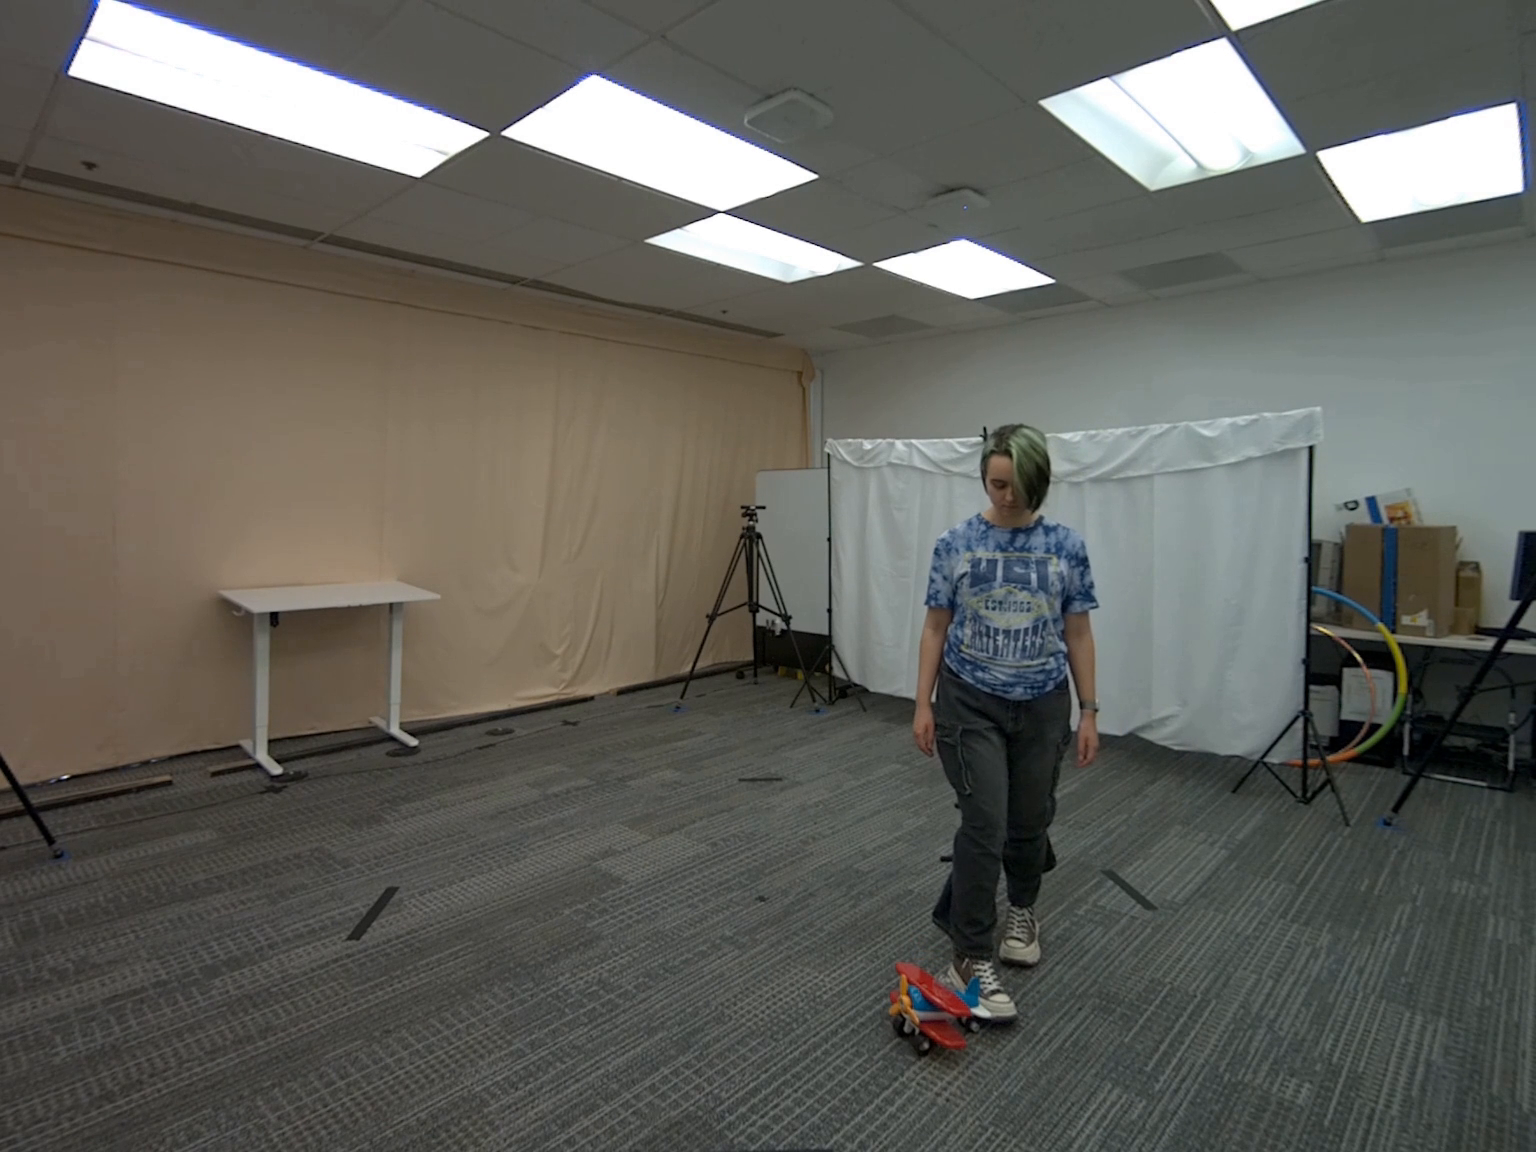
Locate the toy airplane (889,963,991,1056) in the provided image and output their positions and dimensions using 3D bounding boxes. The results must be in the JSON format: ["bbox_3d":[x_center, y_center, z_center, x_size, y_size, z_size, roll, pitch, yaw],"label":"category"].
[{"bbox_3d":[0.446,1.134,2.220,0.259,0.156,0.252,2,6,36],"label":"toy airplane"}]
